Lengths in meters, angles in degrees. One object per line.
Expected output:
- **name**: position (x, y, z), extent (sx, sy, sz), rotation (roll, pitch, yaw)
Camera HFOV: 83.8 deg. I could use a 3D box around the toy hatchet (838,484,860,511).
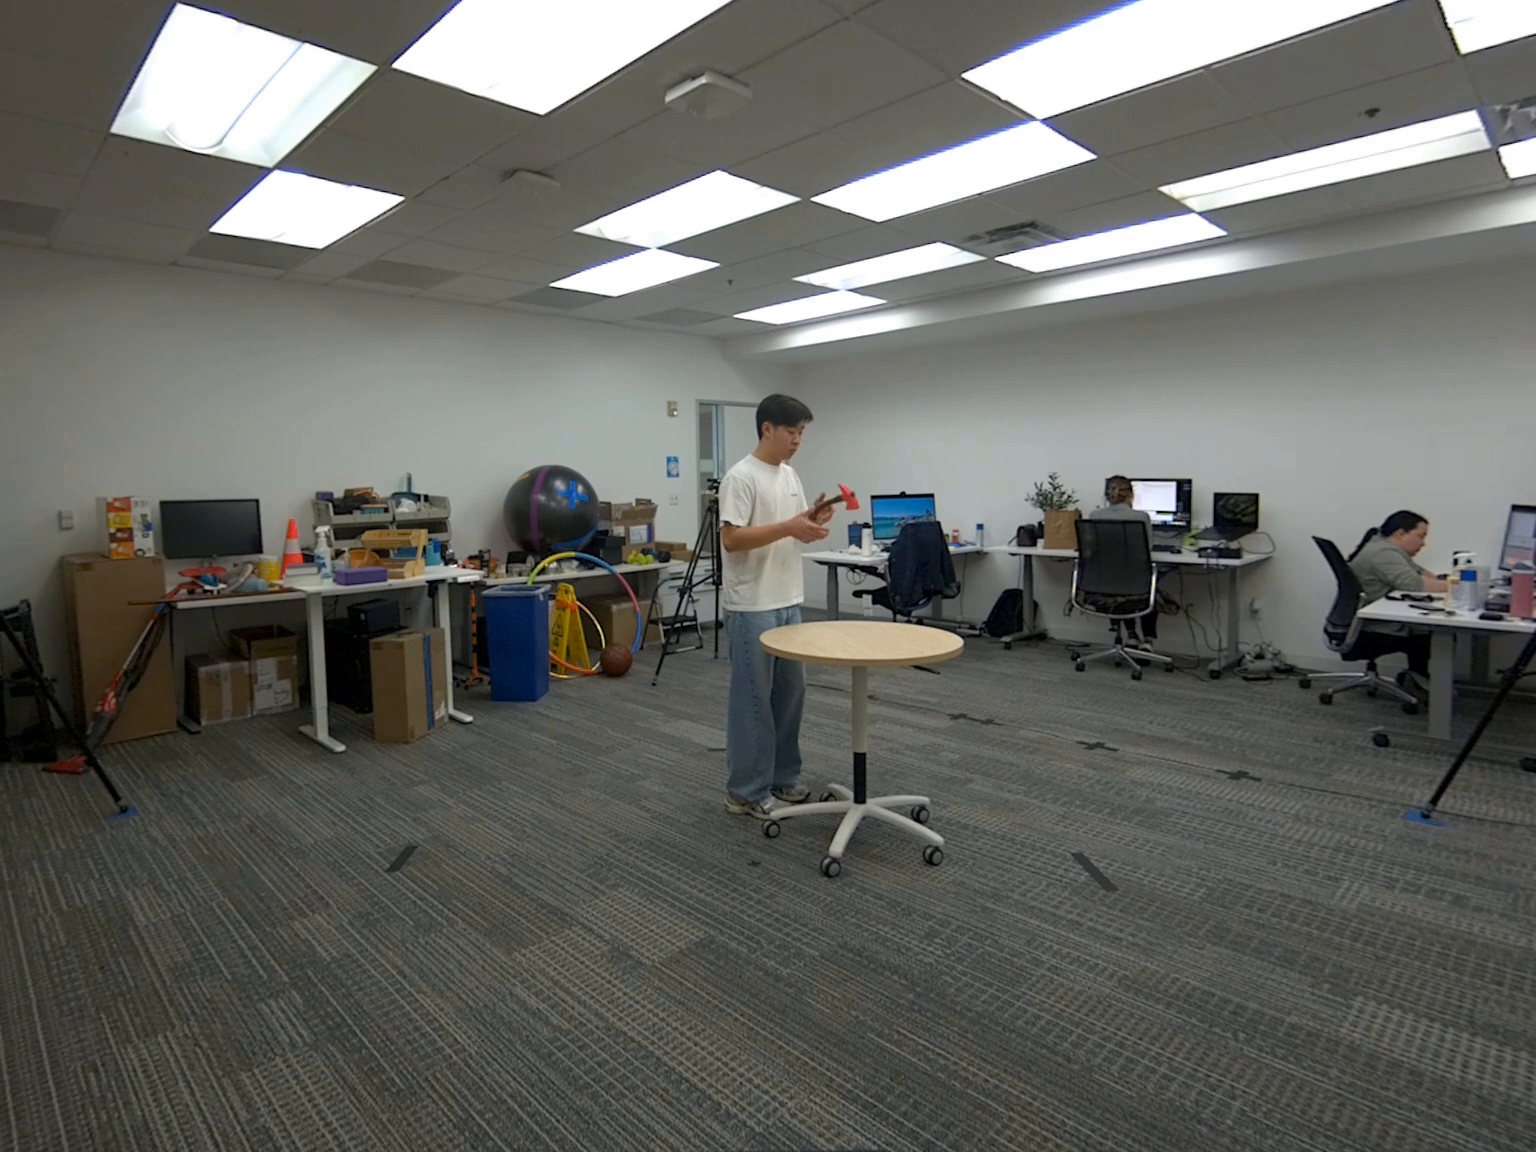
- **toy hatchet**: position (0.256, -0.205, 3.415), extent (0.130, 0.269, 0.030), rotation (32, 28, -8)
